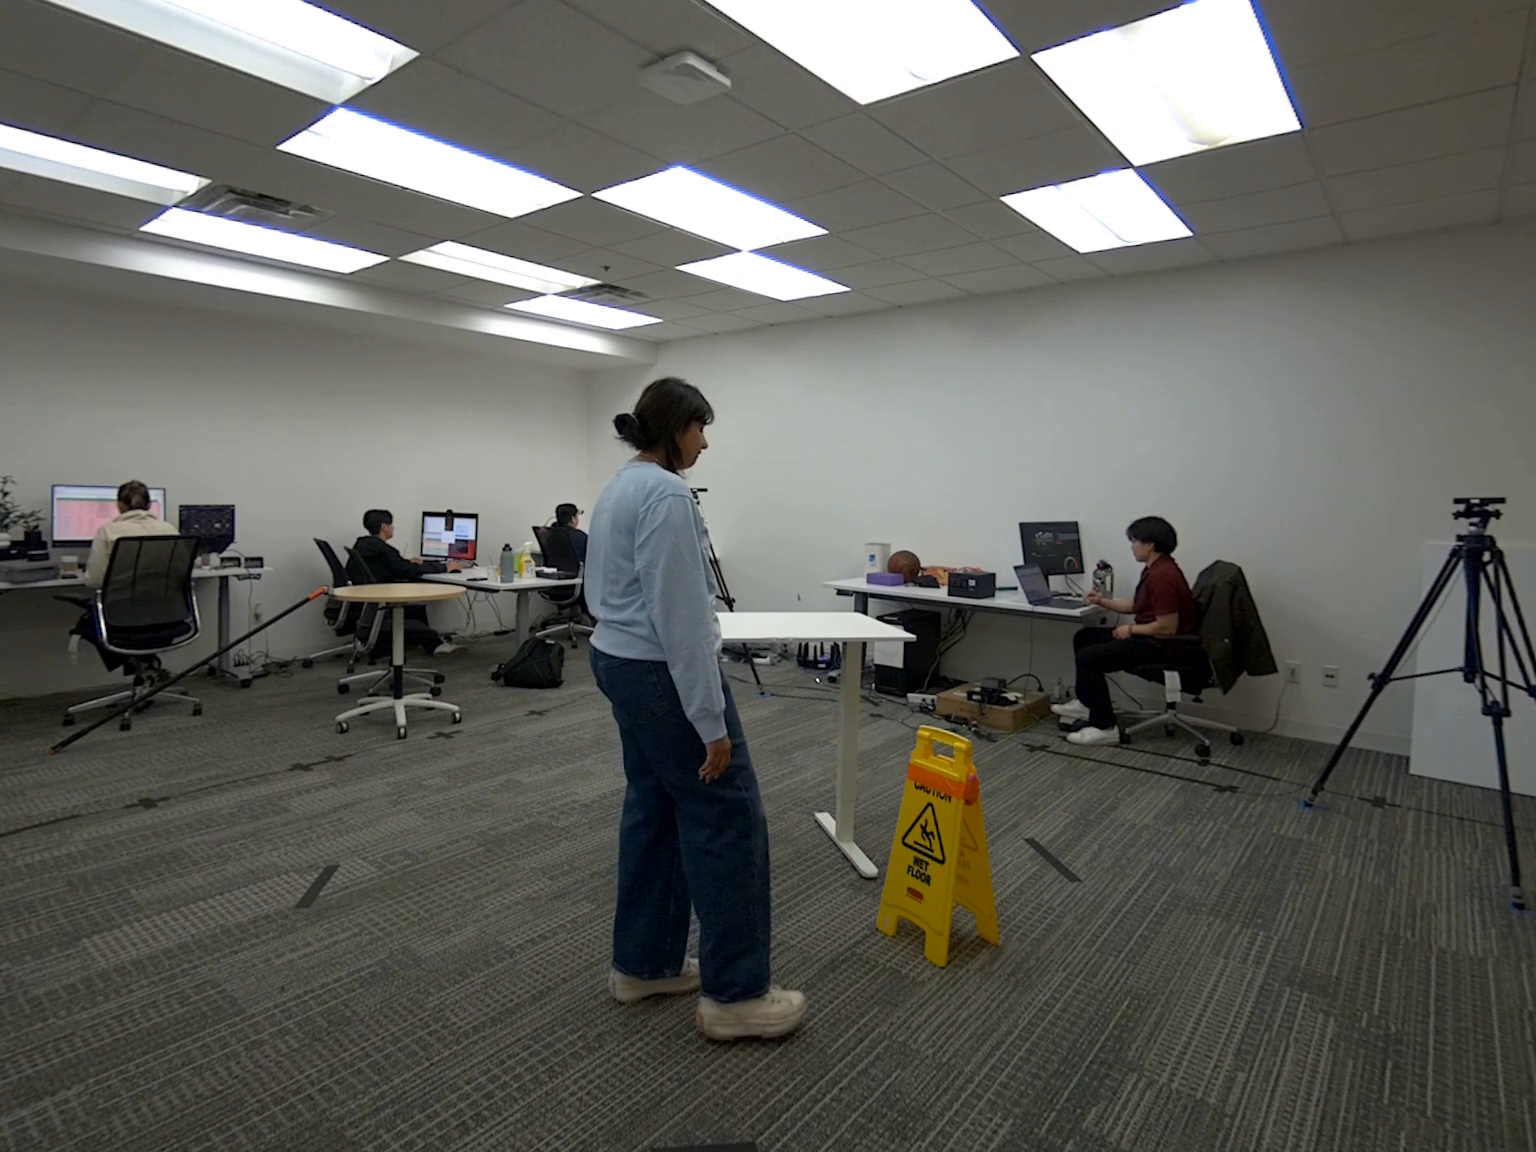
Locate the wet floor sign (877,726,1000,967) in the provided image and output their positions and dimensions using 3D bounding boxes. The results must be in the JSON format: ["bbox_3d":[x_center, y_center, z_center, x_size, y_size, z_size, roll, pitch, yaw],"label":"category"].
[{"bbox_3d":[0.535,0.807,2.660,0.281,0.644,0.291,0,4,-36],"label":"wet floor sign"}]
